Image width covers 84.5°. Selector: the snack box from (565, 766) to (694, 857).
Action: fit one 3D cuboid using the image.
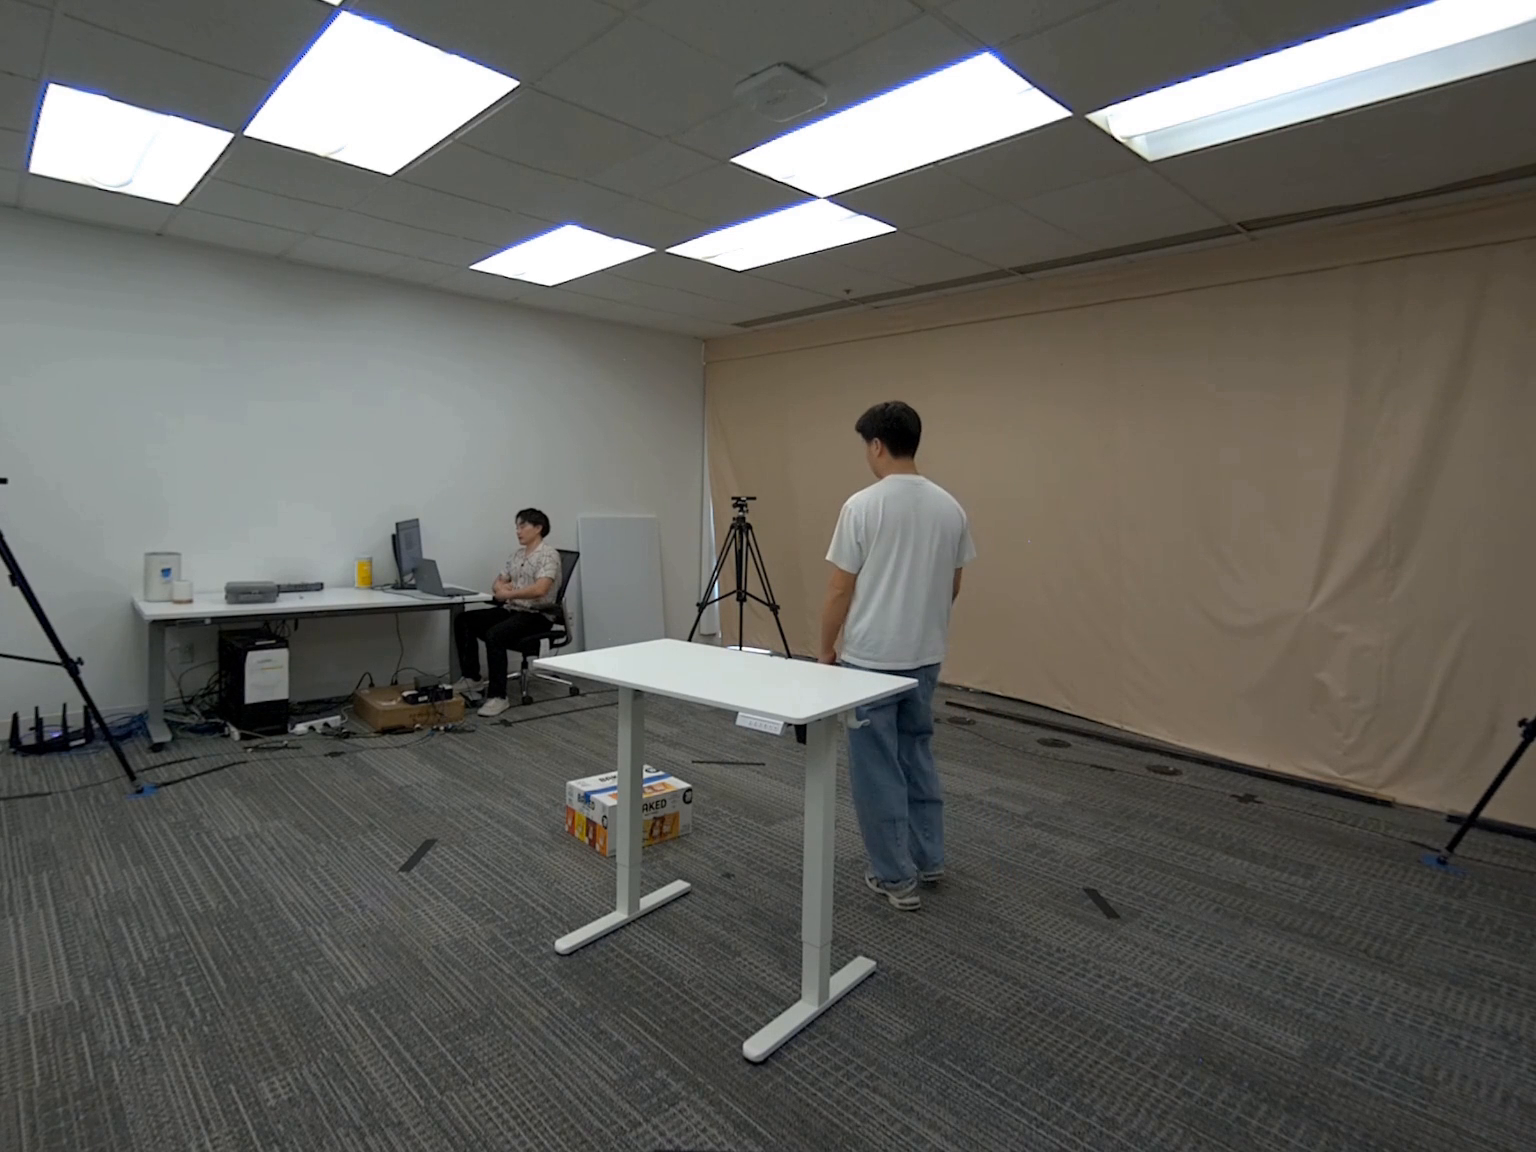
[{"bbox_3d":[-0.582,0.960,3.482,0.396,0.205,0.349,-3,6,-40],"label":"snack box"}]
